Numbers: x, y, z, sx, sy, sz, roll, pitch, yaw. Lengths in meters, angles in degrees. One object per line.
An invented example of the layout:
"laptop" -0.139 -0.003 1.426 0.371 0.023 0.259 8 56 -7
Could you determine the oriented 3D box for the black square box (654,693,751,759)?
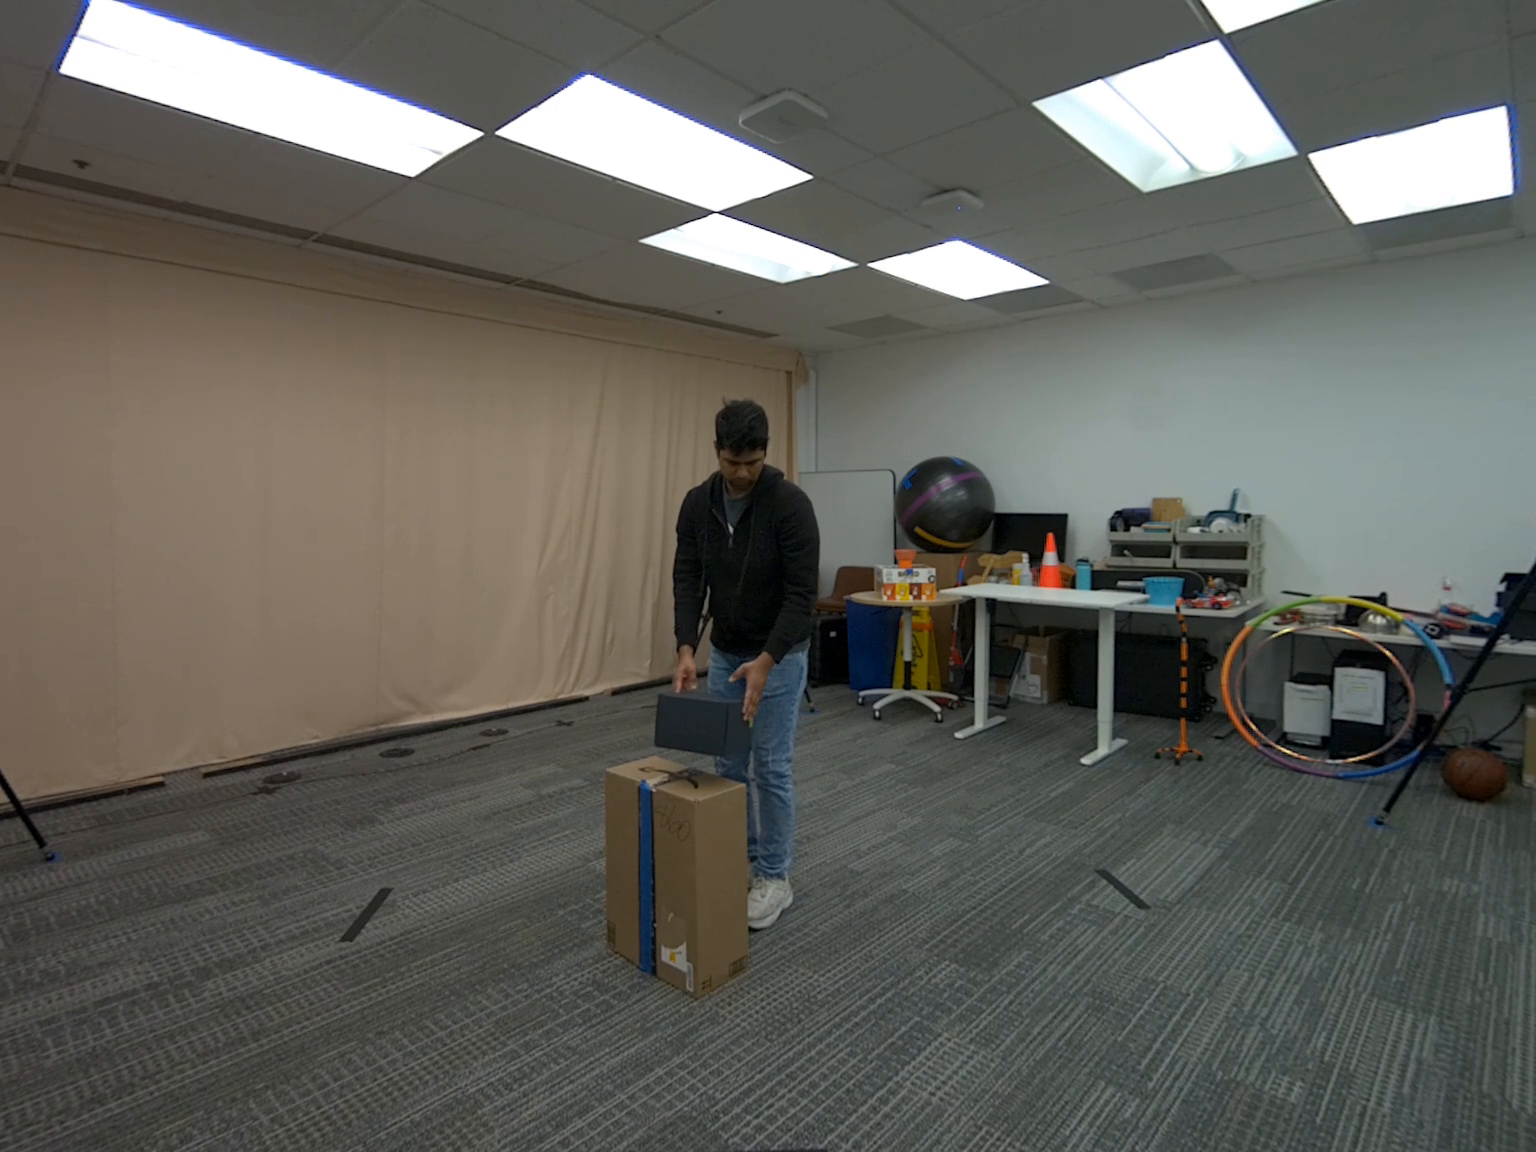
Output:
"black square box" -0.176 0.447 2.557 0.233 0.156 0.211 2 -5 22
